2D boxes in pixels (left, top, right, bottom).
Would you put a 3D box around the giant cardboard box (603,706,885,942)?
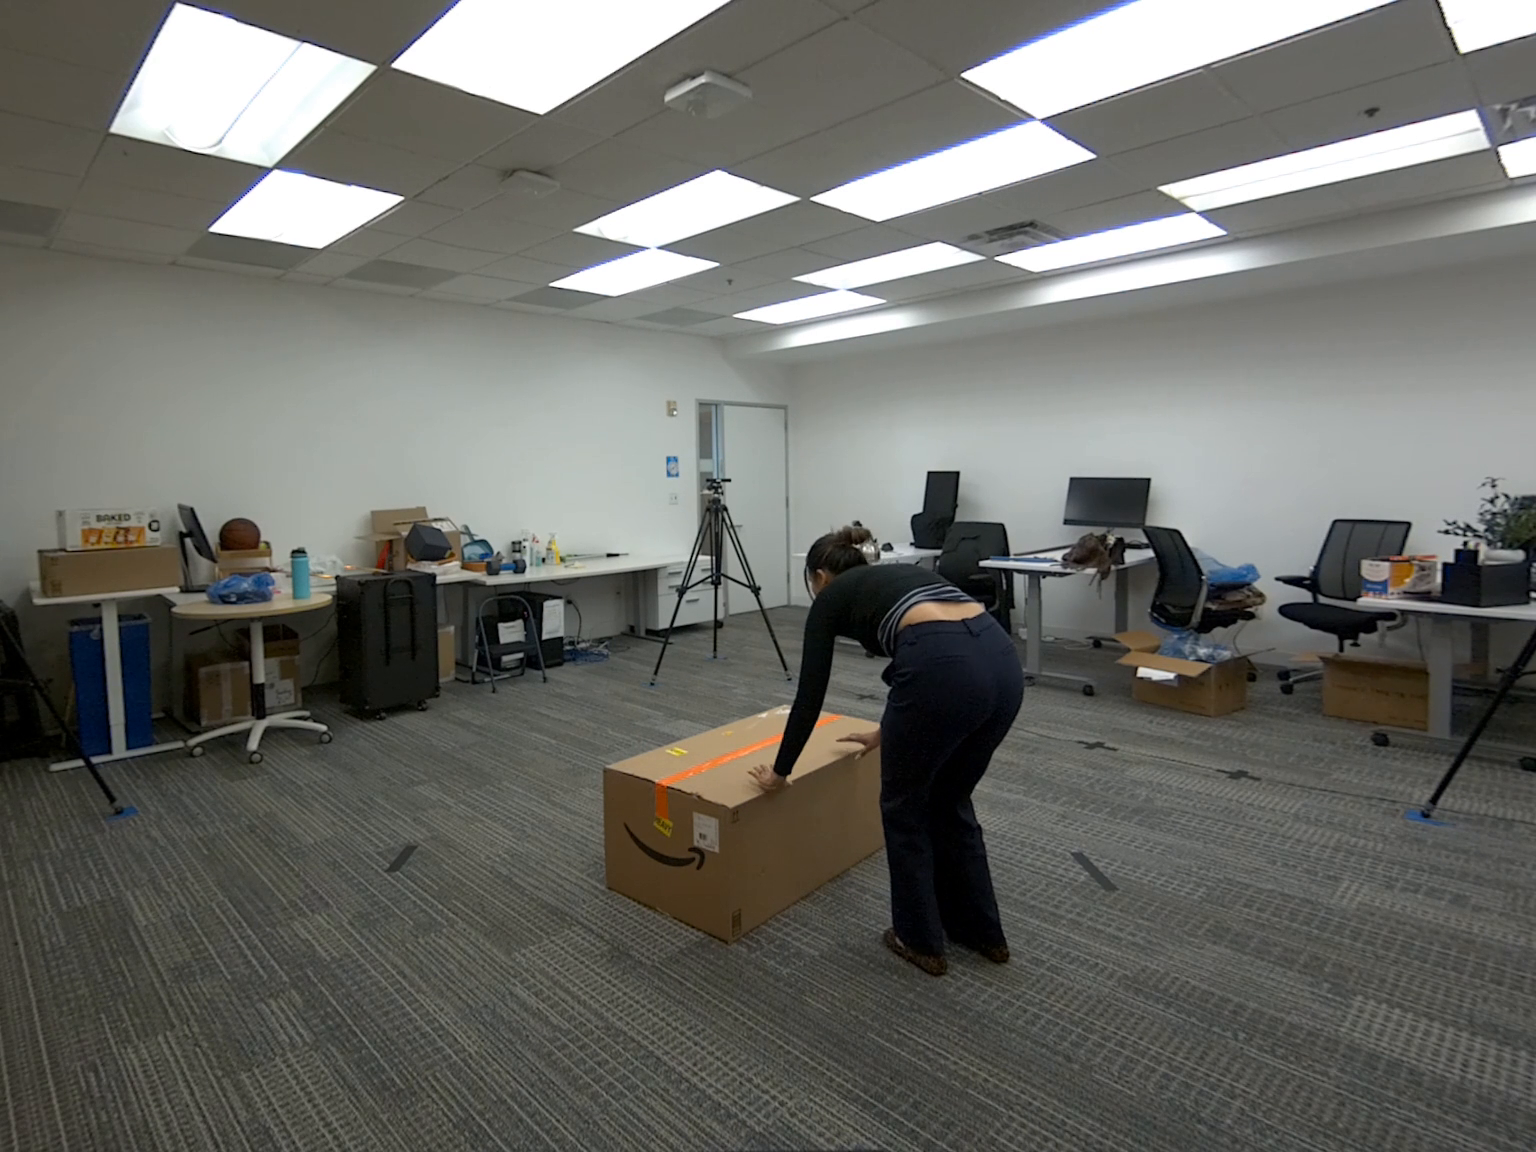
[{"bbox_3d":[-0.020,0.827,3.119,0.595,0.424,1.000,5,8,40],"label":"giant cardboard box"}]
